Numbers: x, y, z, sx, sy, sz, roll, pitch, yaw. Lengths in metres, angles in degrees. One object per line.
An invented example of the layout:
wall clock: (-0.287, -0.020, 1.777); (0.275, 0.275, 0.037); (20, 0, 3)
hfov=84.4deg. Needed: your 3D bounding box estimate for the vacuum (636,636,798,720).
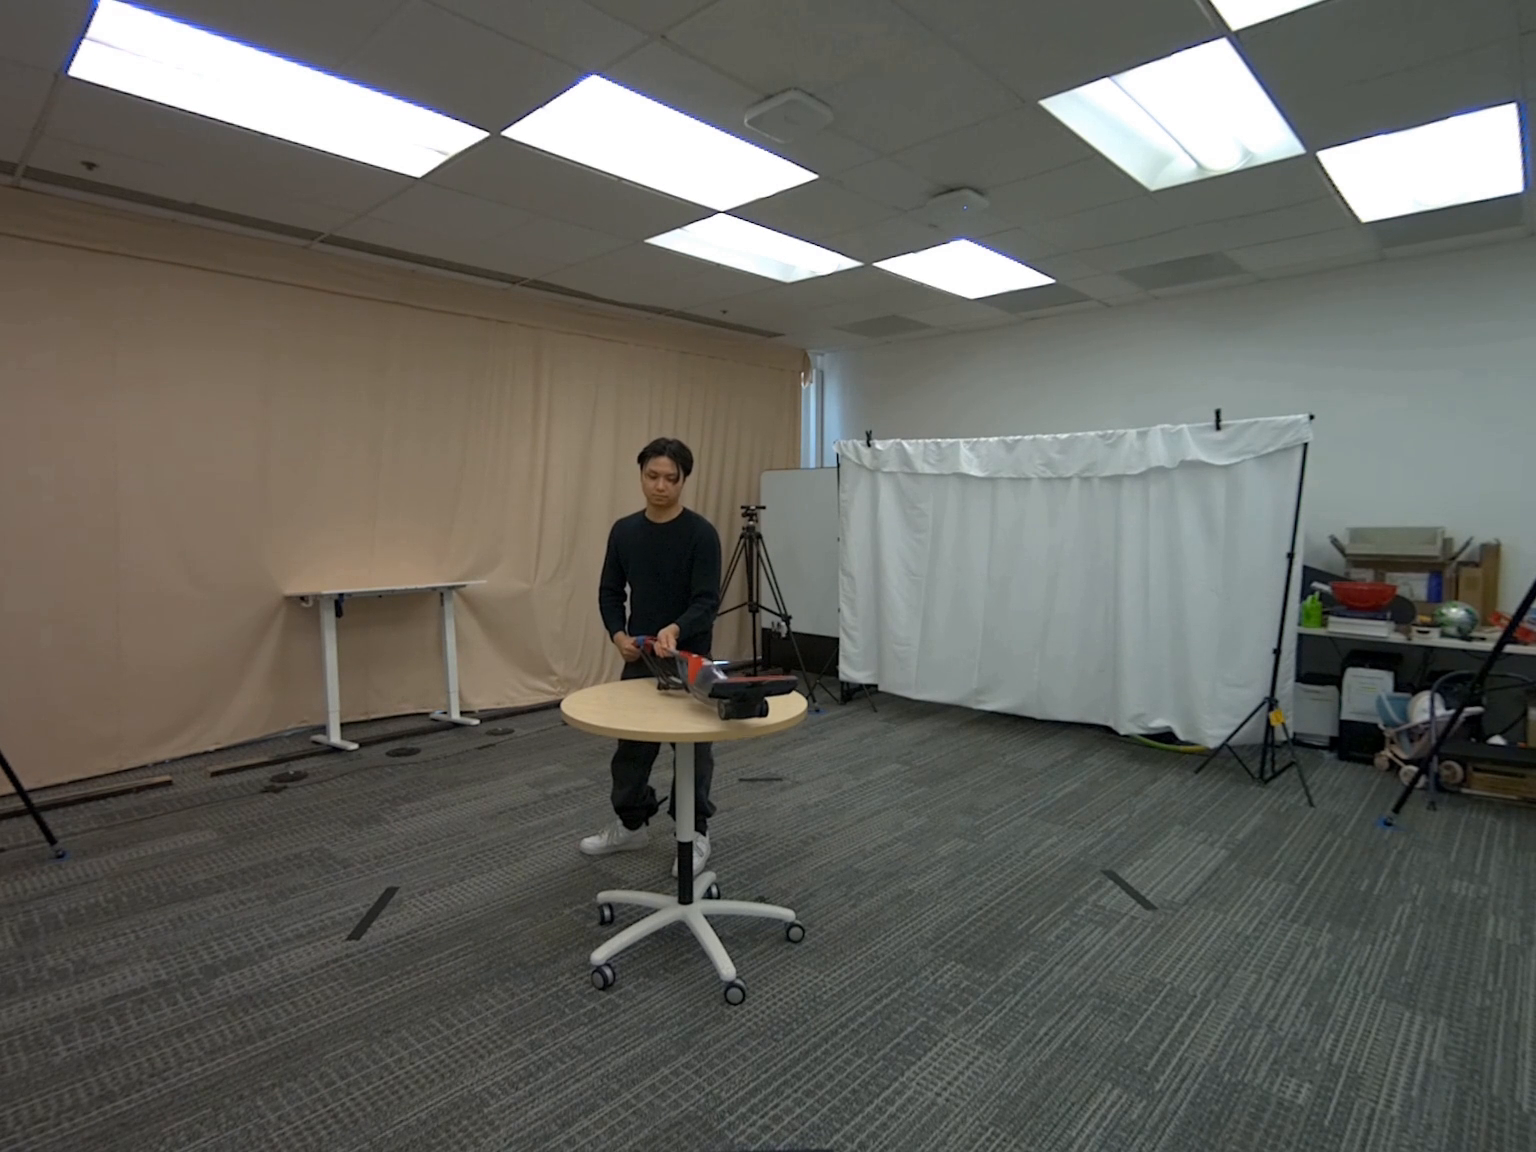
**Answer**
vacuum: (-0.282, 0.312, 2.724); (0.246, 0.144, 1.076); (5, 0, -26)
